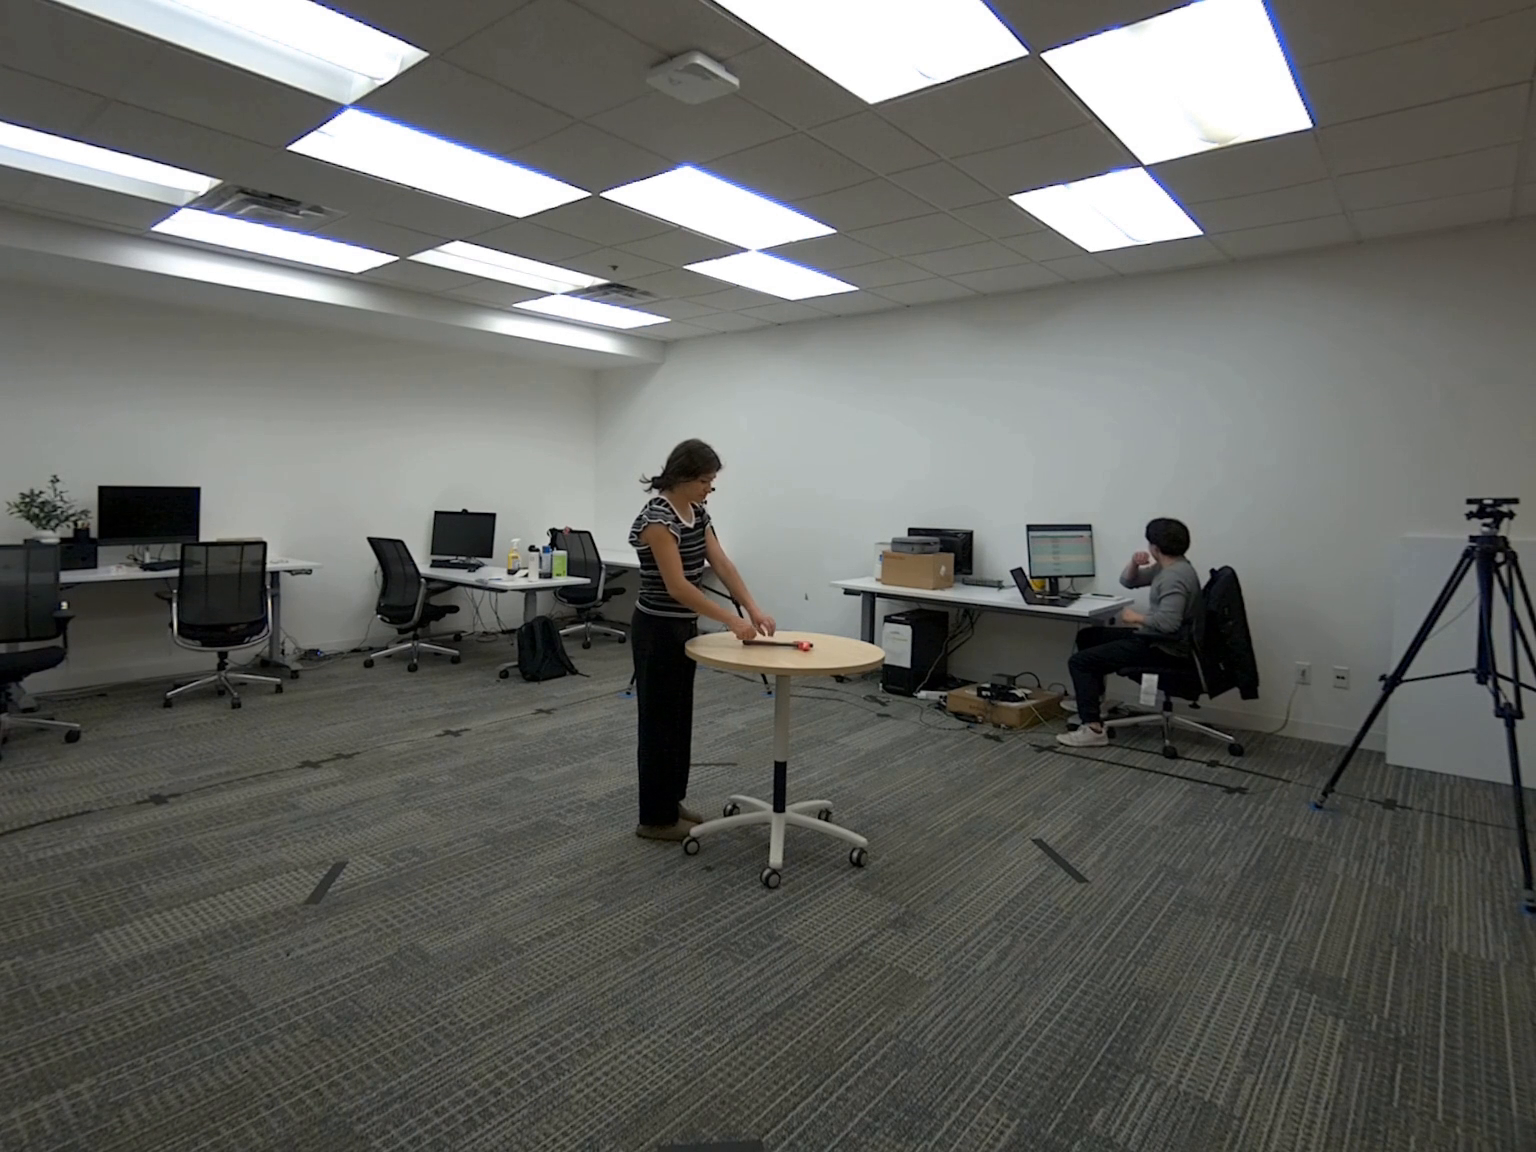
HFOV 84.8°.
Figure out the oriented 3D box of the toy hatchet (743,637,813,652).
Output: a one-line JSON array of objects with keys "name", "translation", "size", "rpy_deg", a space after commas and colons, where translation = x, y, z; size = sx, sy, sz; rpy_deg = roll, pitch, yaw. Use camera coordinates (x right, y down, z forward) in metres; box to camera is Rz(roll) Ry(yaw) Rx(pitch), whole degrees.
[{"name": "toy hatchet", "translation": [0.026, 0.254, 3.302], "size": [0.277, 0.029, 0.128], "rpy_deg": [3, 6, 28]}]
